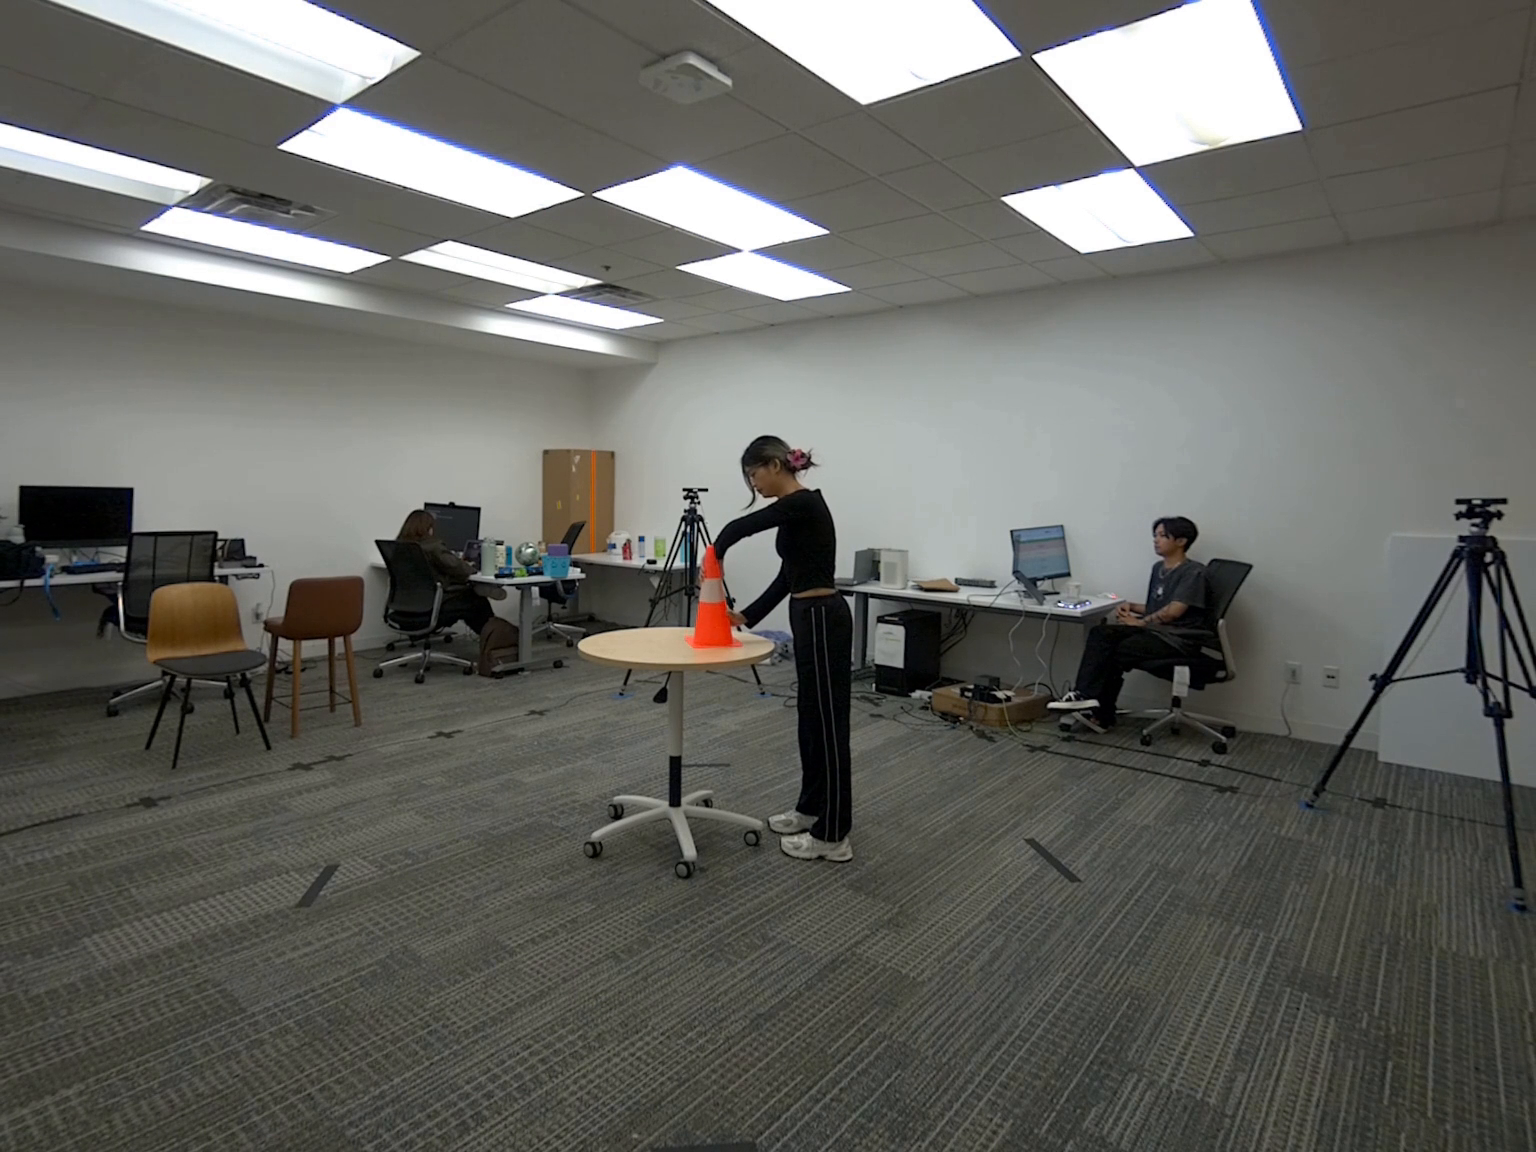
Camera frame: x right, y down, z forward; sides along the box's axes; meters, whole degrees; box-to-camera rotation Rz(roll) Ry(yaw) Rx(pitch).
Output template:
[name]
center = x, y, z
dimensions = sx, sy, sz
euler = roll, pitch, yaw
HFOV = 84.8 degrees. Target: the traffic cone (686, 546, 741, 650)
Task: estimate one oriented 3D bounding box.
[traffic cone]
center = -0.227, 0.070, 3.341
dimensions = 0.200, 0.382, 0.209
euler = -1, 5, -14
